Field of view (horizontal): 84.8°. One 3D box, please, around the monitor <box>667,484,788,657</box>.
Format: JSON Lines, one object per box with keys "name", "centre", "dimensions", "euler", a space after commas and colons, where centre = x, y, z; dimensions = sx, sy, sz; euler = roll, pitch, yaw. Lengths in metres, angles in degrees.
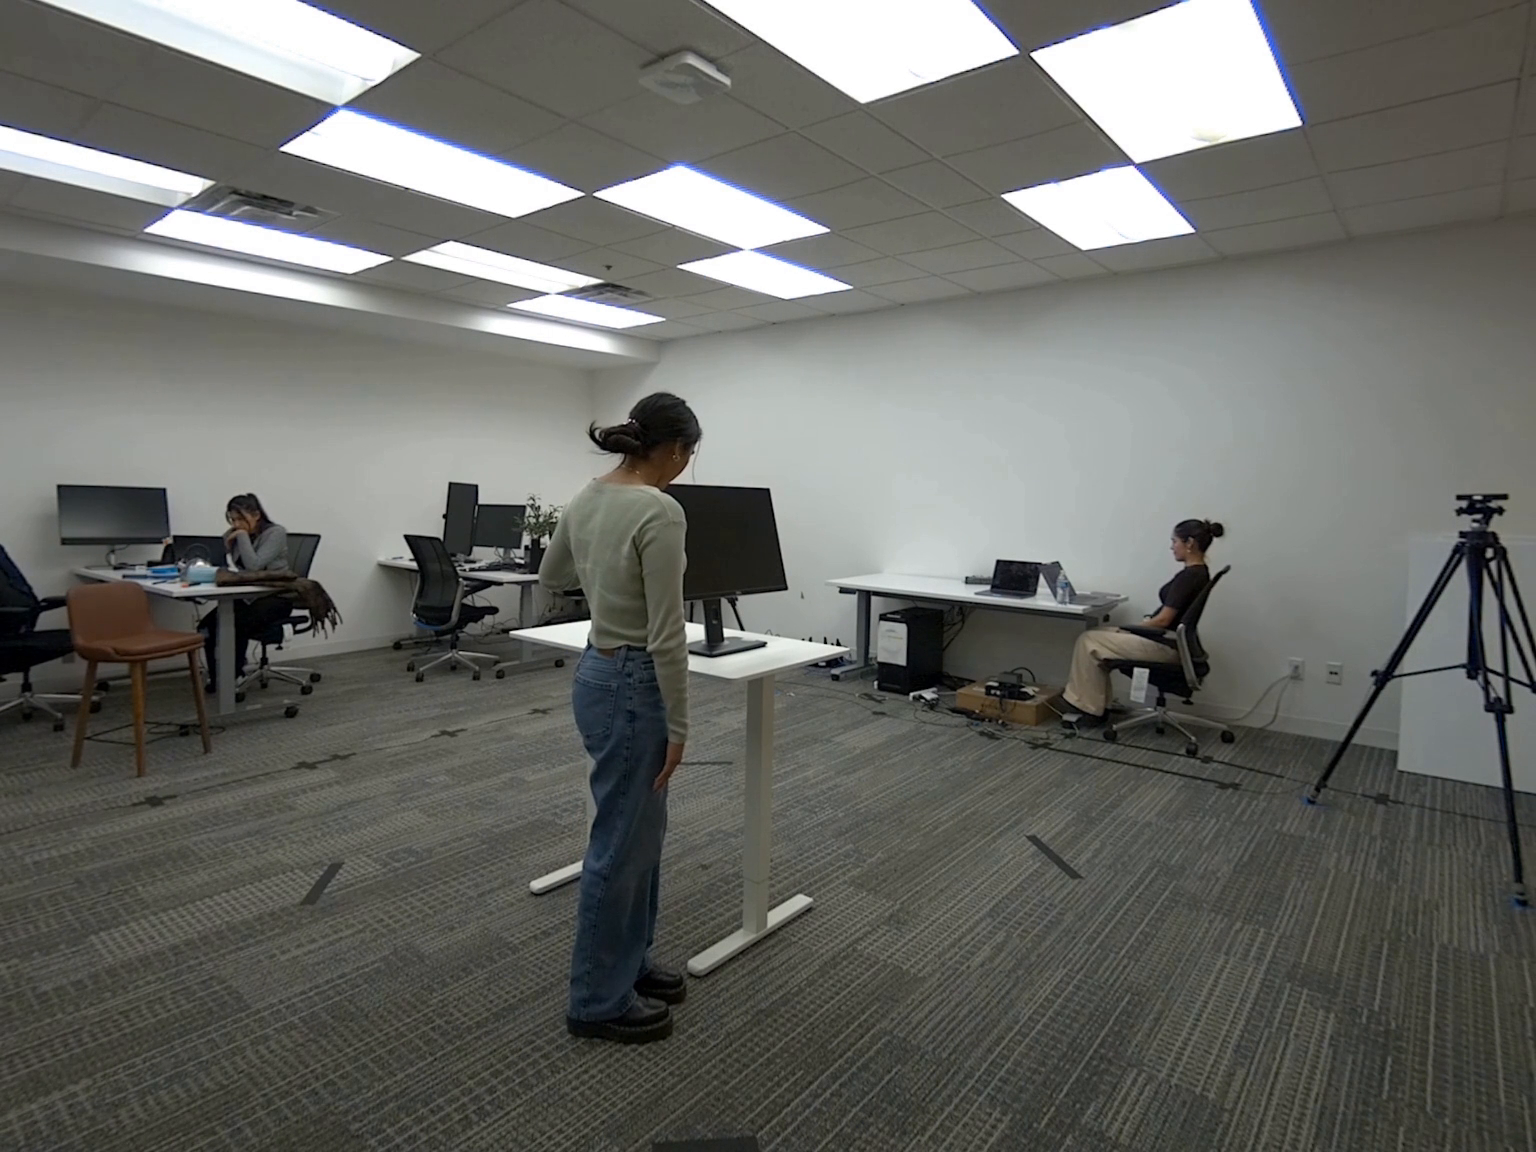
{"name": "monitor", "centre": [-0.167, -0.023, 2.697], "dimensions": [0.193, 0.522, 0.523], "euler": [-1, 2, 39]}
